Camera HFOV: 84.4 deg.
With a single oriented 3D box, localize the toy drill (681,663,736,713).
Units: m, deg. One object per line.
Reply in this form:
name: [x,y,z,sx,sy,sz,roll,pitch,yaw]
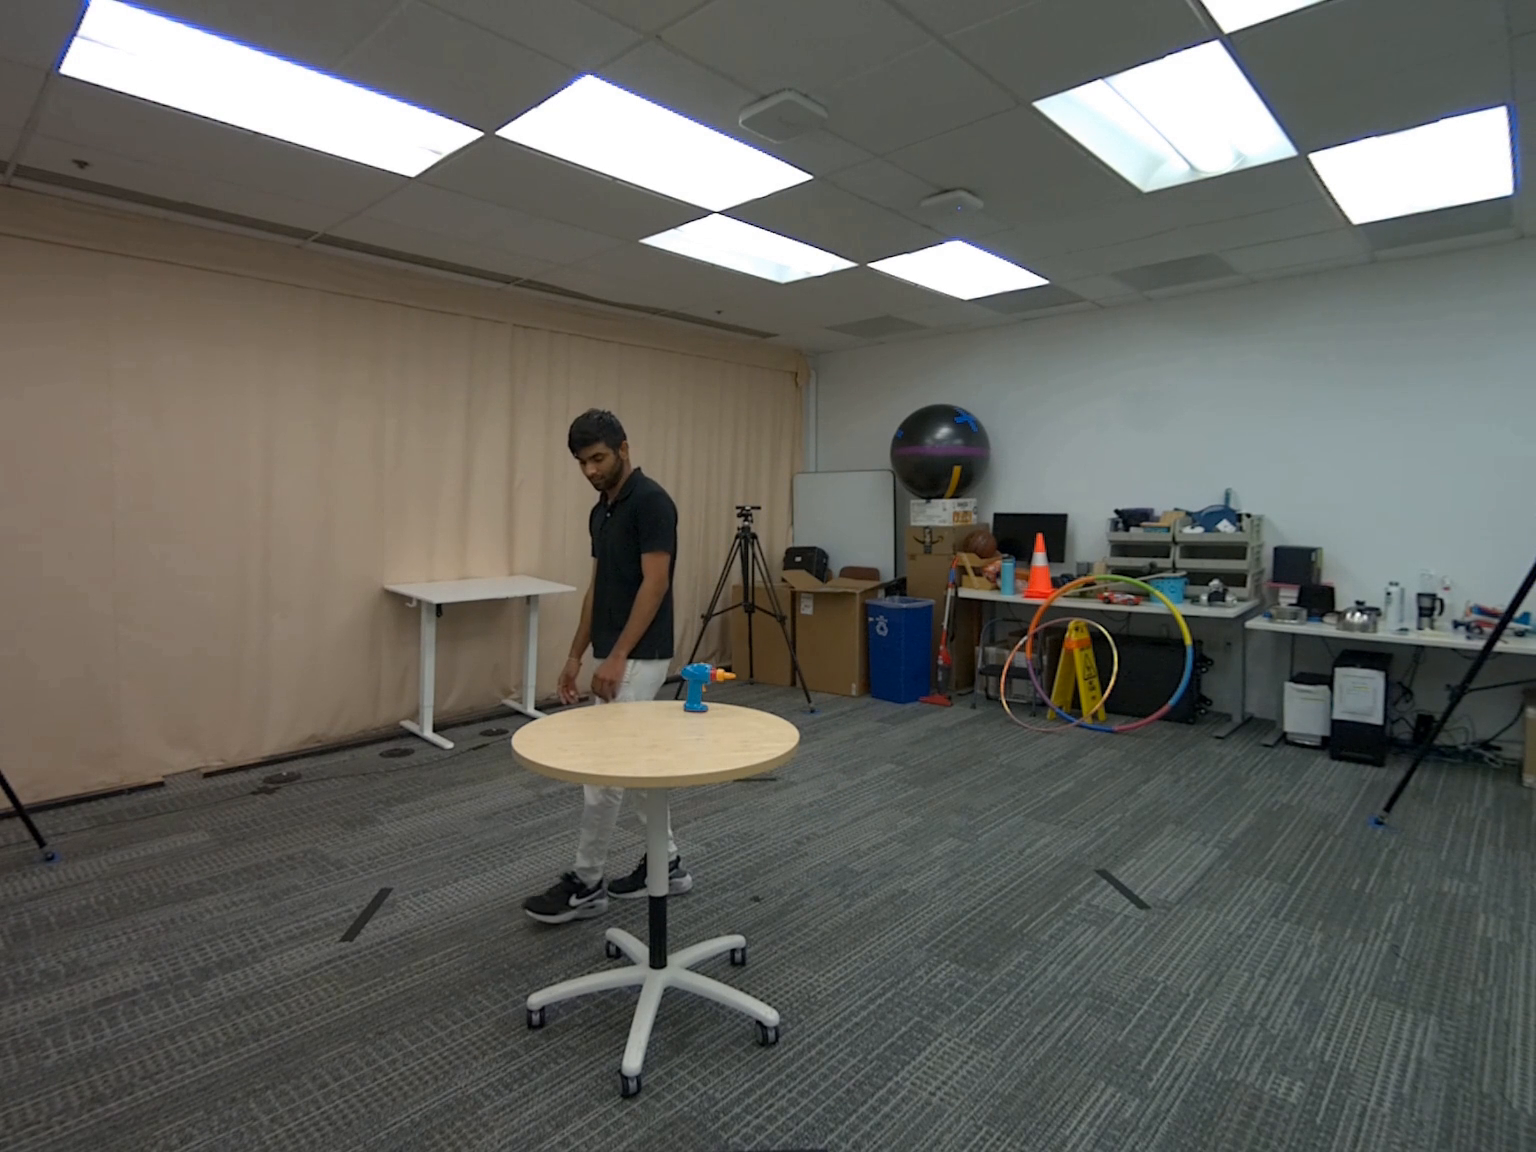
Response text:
toy drill: [-0.173,0.334,2.504,0.172,0.145,0.060,1,4,11]
